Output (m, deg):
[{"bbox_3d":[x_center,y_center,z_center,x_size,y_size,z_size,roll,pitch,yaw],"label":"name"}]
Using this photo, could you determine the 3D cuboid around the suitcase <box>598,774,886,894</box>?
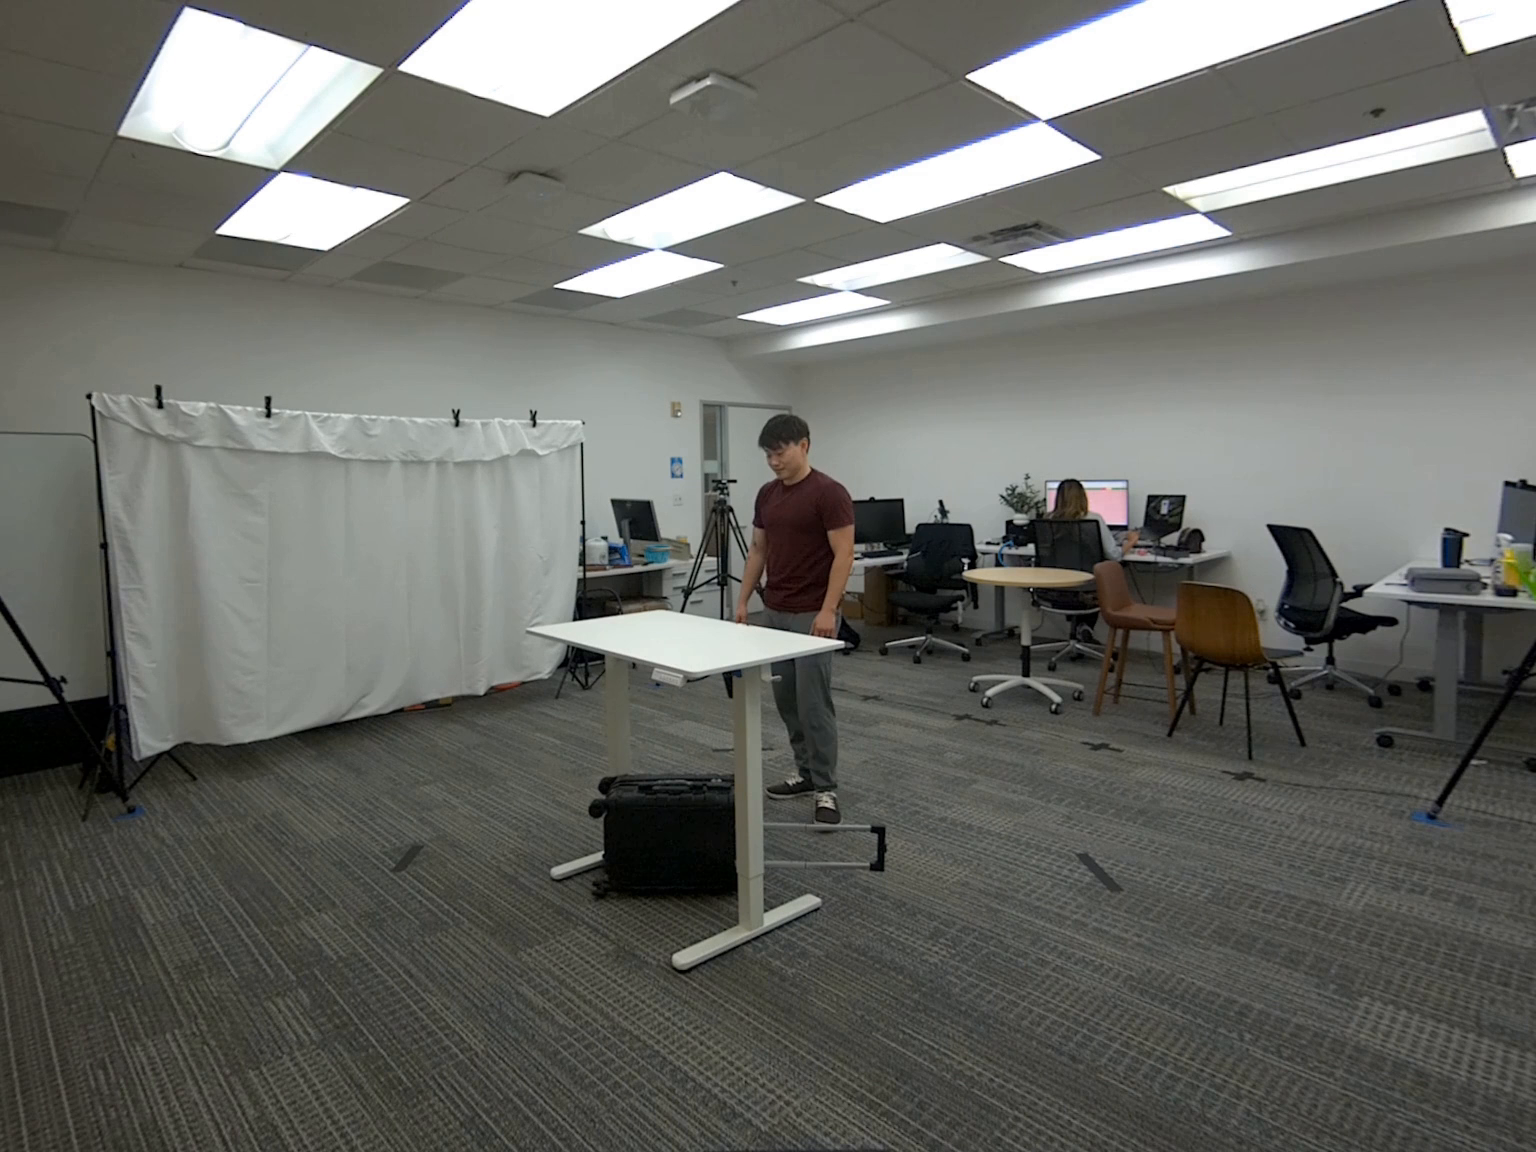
[{"bbox_3d":[-0.110,0.879,2.955,0.977,0.382,0.259,0,6,-2],"label":"suitcase"}]
